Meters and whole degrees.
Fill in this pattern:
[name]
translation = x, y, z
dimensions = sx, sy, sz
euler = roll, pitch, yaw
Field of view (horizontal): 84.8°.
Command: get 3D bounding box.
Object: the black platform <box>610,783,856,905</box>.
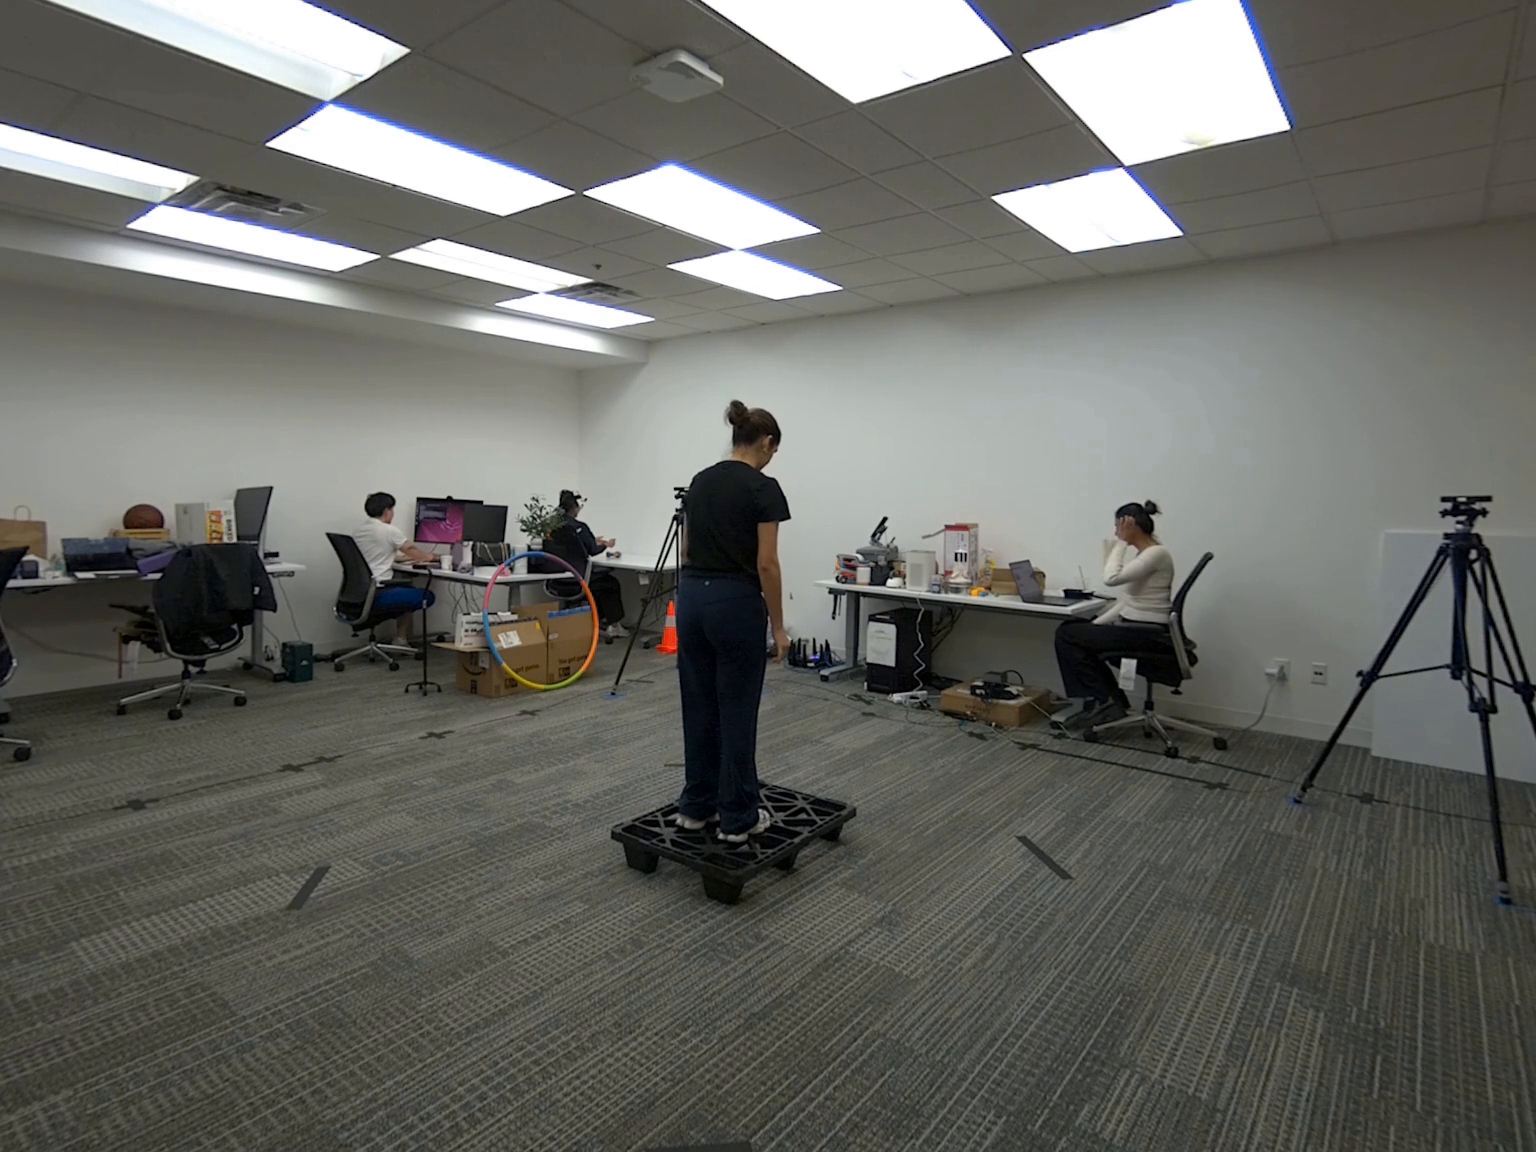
[black platform]
translation = -0.090, 0.982, 3.266
dimensions = 0.625, 0.143, 0.783
euler = 5, 7, 37
